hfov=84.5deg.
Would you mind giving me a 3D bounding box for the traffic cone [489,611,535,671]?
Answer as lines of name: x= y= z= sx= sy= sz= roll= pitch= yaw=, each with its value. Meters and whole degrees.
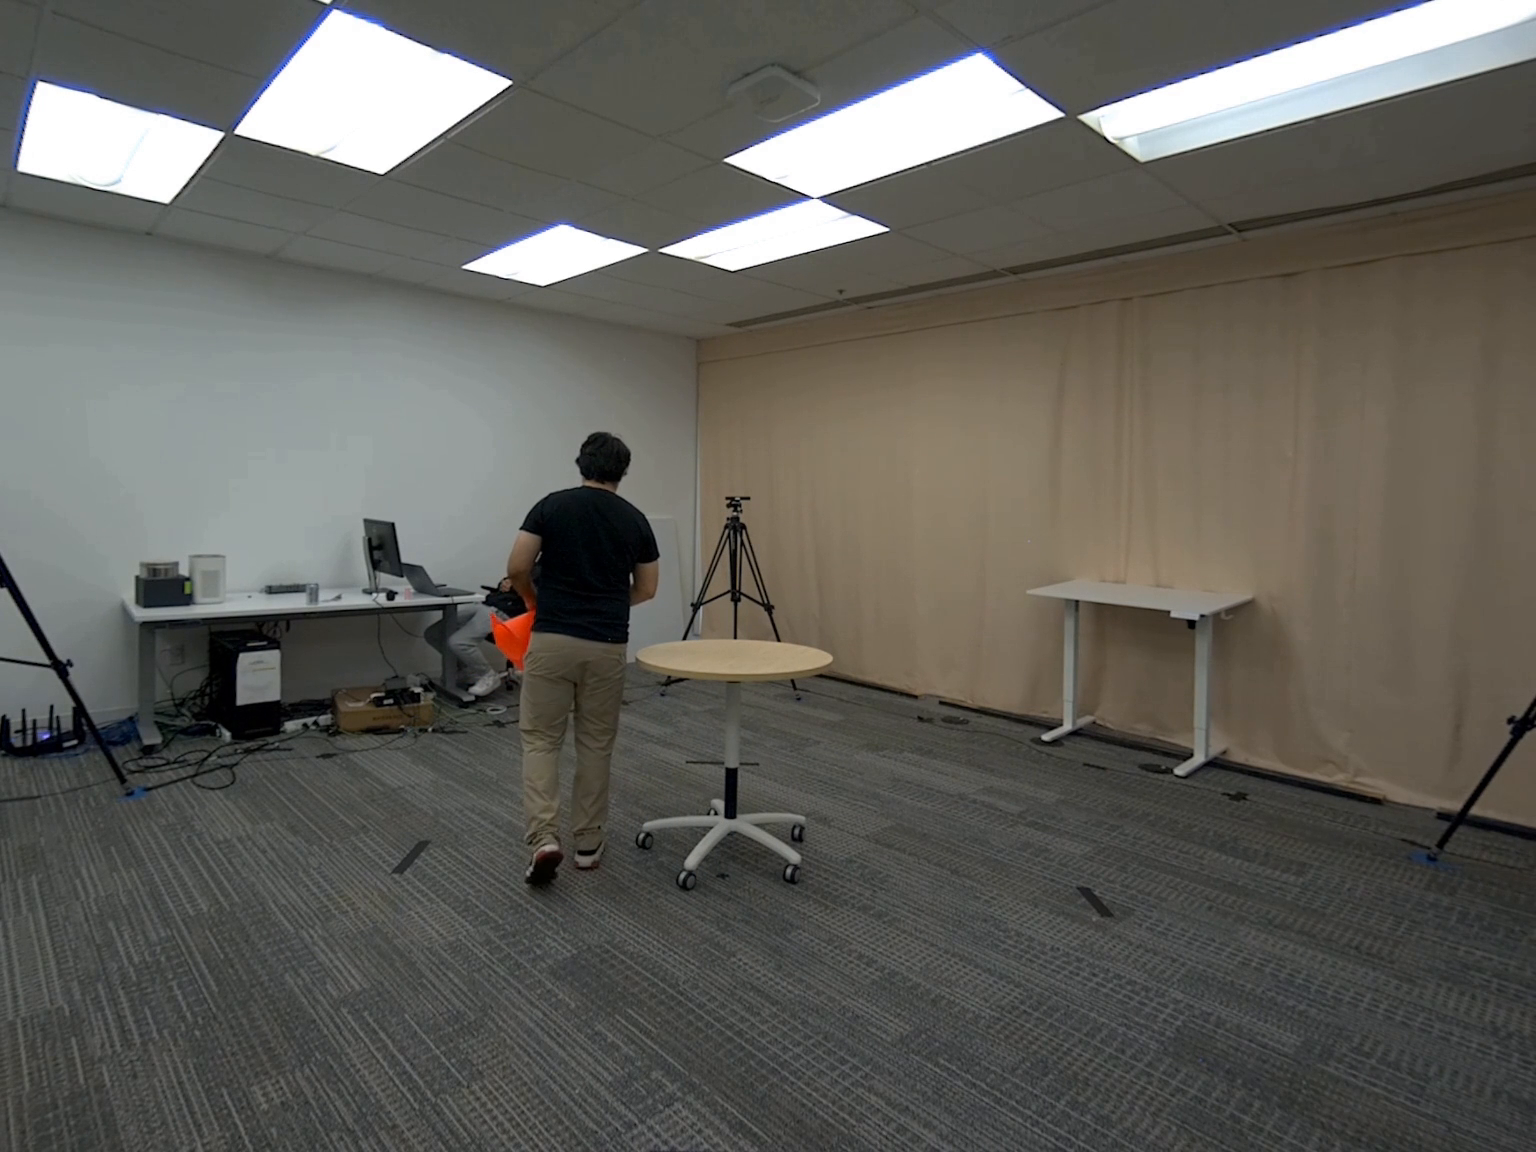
traffic cone: x=-0.890 y=0.179 z=3.381 sx=0.209 sy=0.201 sz=0.380 roll=33 pitch=47 yaw=32
